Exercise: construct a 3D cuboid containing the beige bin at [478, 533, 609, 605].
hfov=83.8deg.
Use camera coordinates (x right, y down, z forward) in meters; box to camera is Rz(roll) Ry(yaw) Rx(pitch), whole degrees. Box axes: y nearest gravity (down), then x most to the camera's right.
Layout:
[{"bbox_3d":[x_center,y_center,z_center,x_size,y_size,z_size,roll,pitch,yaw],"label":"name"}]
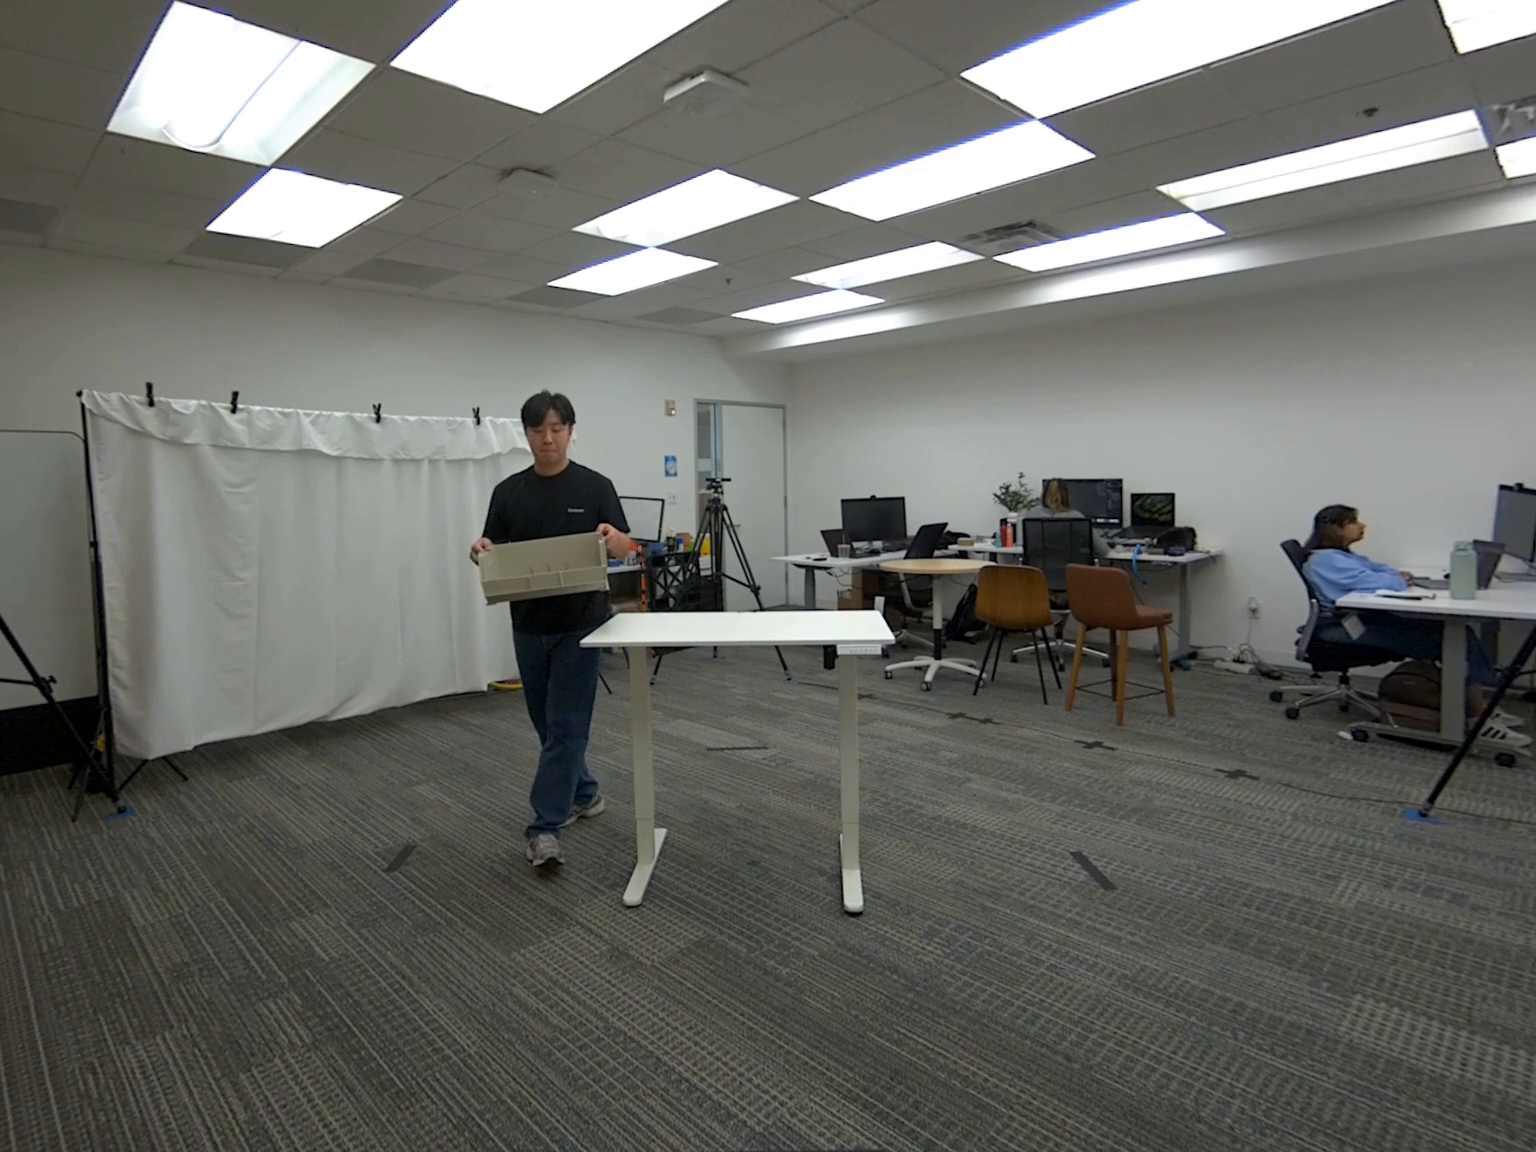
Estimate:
[{"bbox_3d":[-0.788,-0.020,3.016,0.419,0.188,0.382,-9,7,-9],"label":"beige bin"}]
